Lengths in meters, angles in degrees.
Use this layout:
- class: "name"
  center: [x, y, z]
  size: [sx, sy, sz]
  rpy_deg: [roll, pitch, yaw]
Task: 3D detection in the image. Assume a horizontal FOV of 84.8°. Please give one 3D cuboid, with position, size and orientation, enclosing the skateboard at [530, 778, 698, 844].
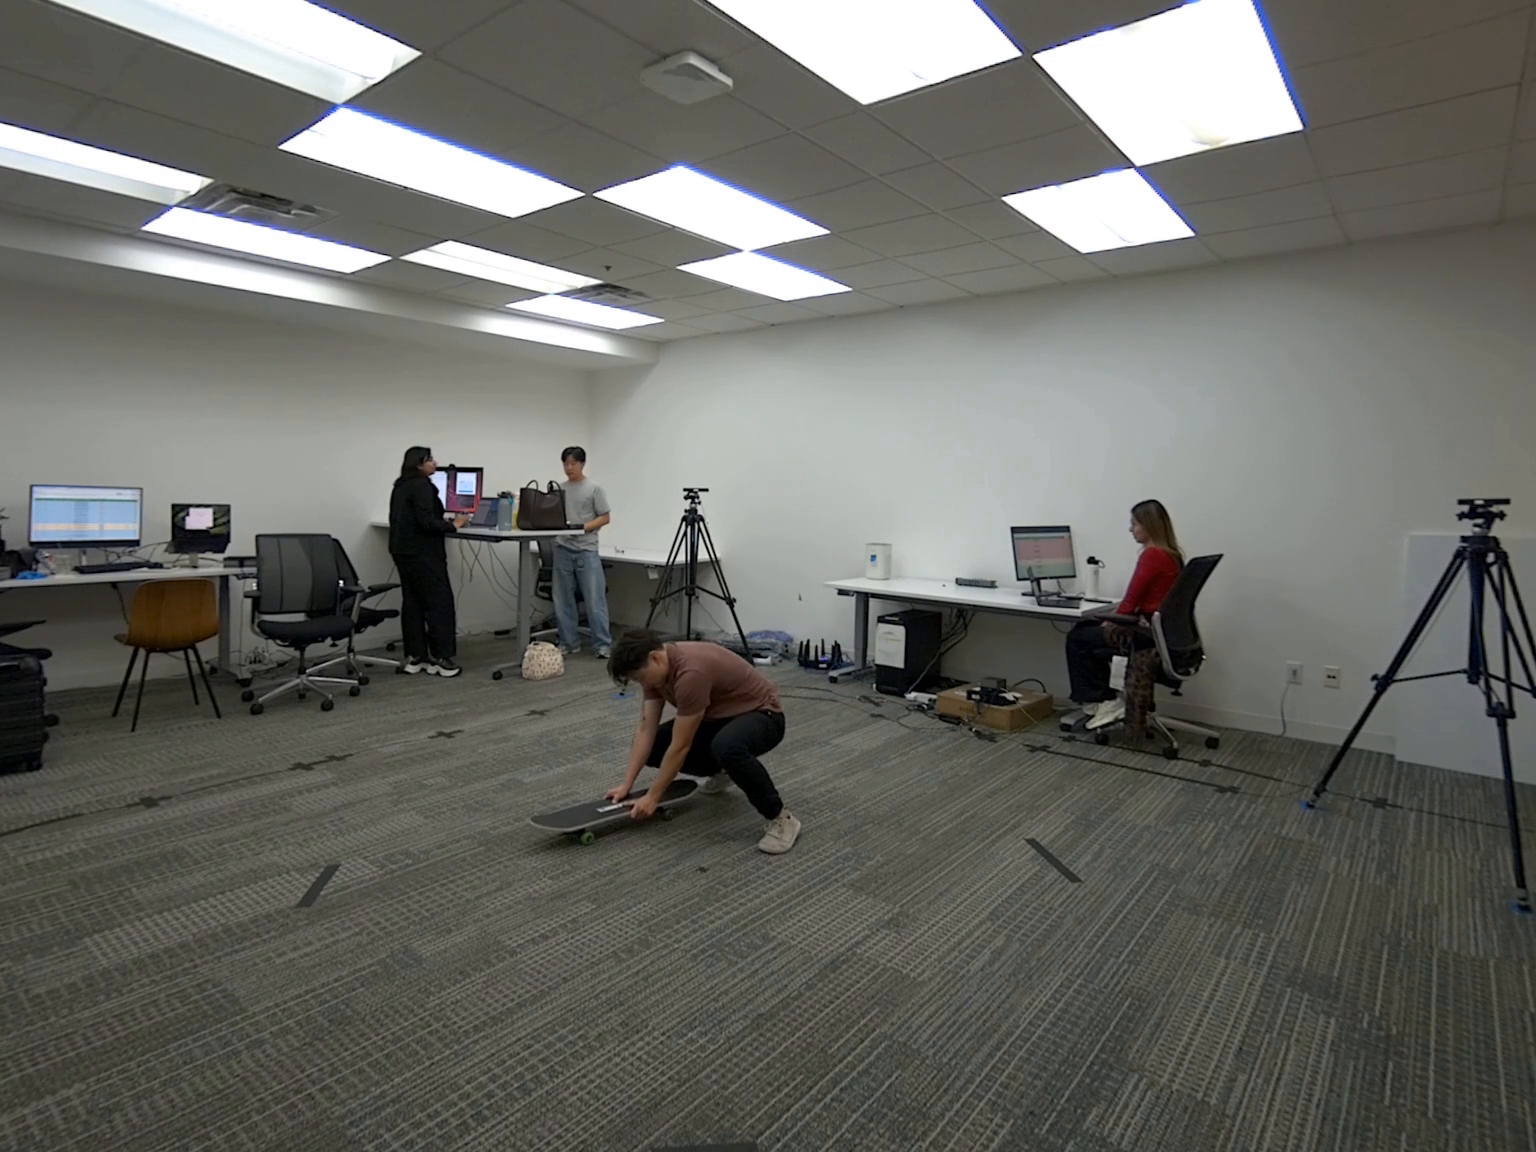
- class: "skateboard"
  center: [-0.623, 0.974, 3.495]
  size: [0.762, 0.110, 0.200]
  rpy_deg: [-3, 6, -40]
